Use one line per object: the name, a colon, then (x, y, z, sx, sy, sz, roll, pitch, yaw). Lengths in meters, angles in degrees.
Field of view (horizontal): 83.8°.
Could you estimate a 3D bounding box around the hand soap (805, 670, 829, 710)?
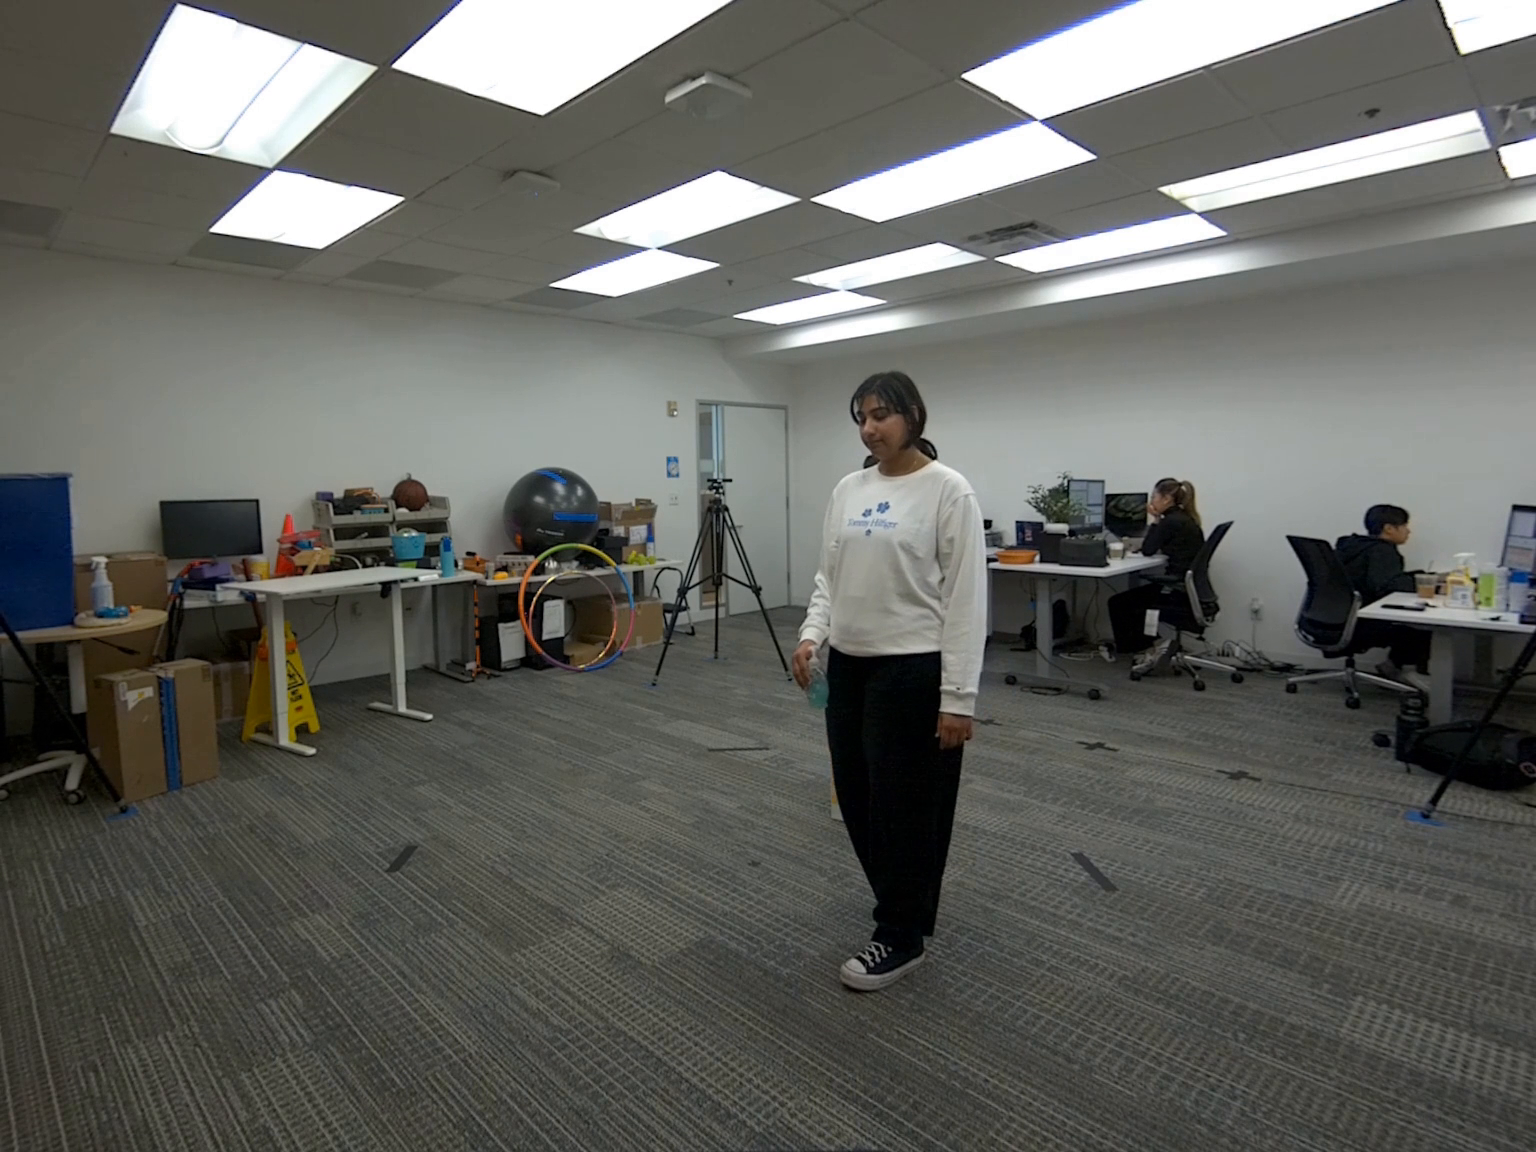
hand soap: (0.140, 0.281, 2.392, 0.042, 0.168, 0.087, -5, 3, -39)
